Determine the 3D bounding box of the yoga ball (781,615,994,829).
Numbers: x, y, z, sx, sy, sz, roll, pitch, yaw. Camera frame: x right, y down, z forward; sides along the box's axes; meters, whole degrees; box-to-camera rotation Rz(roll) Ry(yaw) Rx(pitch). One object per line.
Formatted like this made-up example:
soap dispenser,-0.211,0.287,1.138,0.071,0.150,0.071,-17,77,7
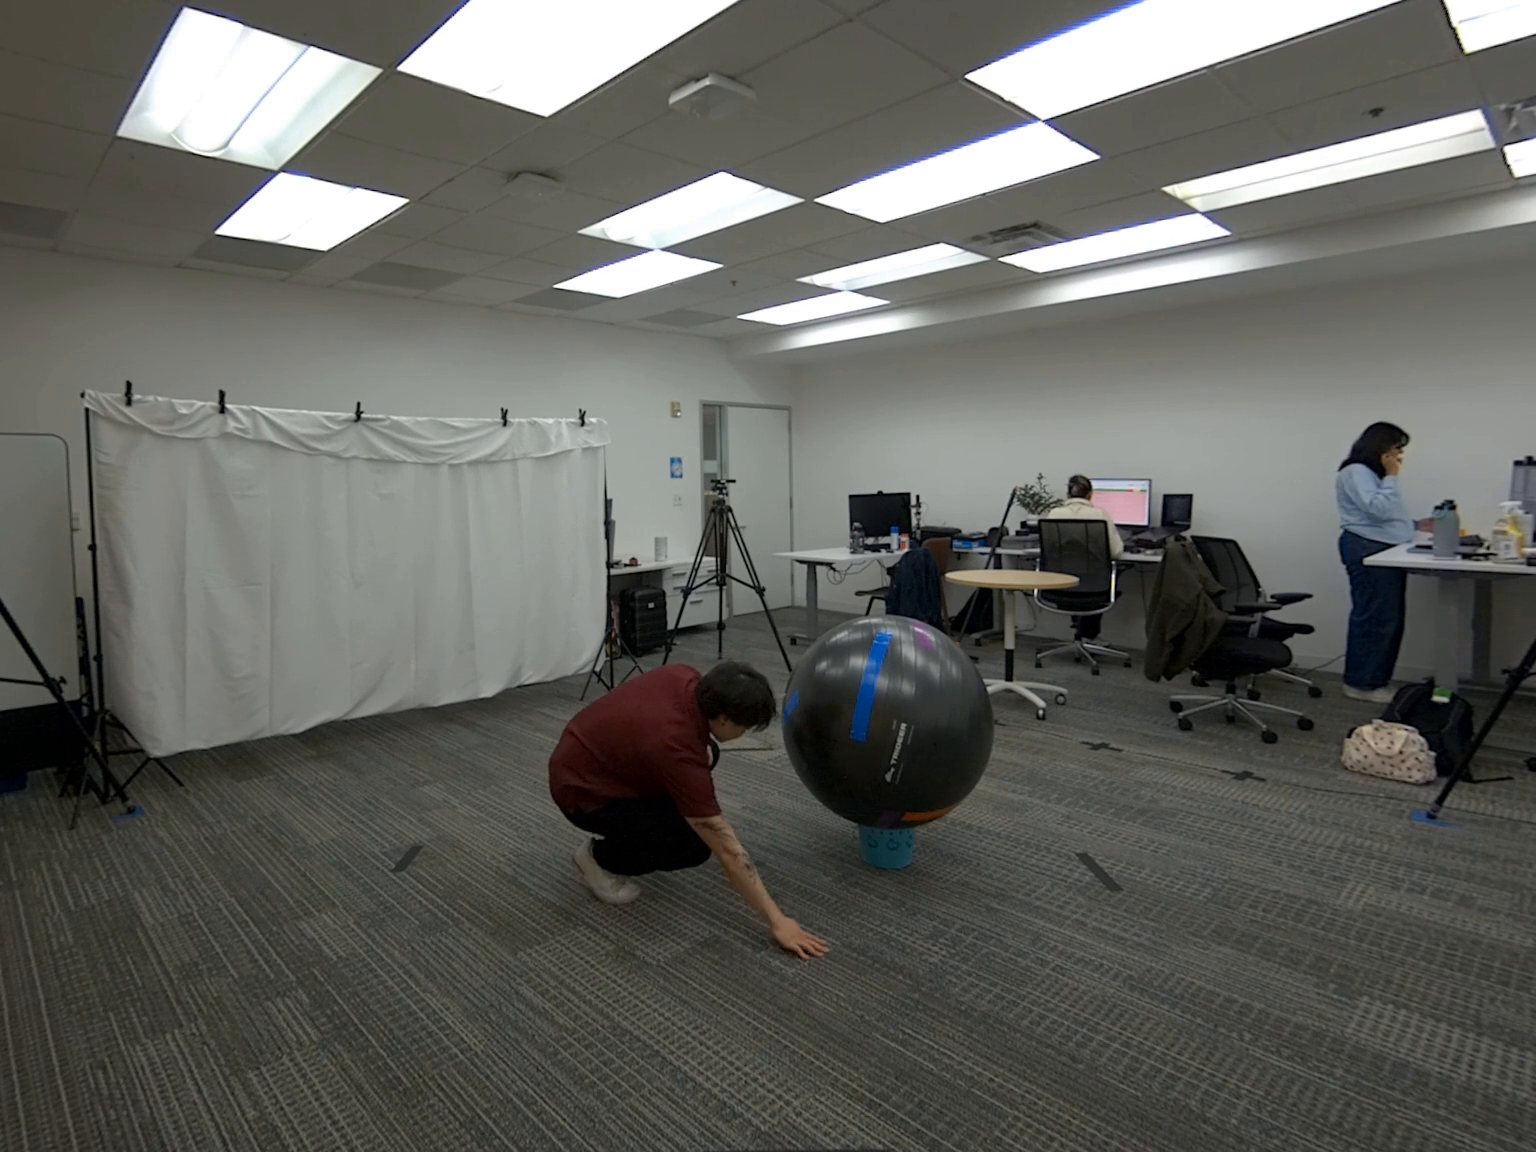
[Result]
yoga ball,0.435,0.530,3.118,0.757,0.755,0.762,-1,5,-2
